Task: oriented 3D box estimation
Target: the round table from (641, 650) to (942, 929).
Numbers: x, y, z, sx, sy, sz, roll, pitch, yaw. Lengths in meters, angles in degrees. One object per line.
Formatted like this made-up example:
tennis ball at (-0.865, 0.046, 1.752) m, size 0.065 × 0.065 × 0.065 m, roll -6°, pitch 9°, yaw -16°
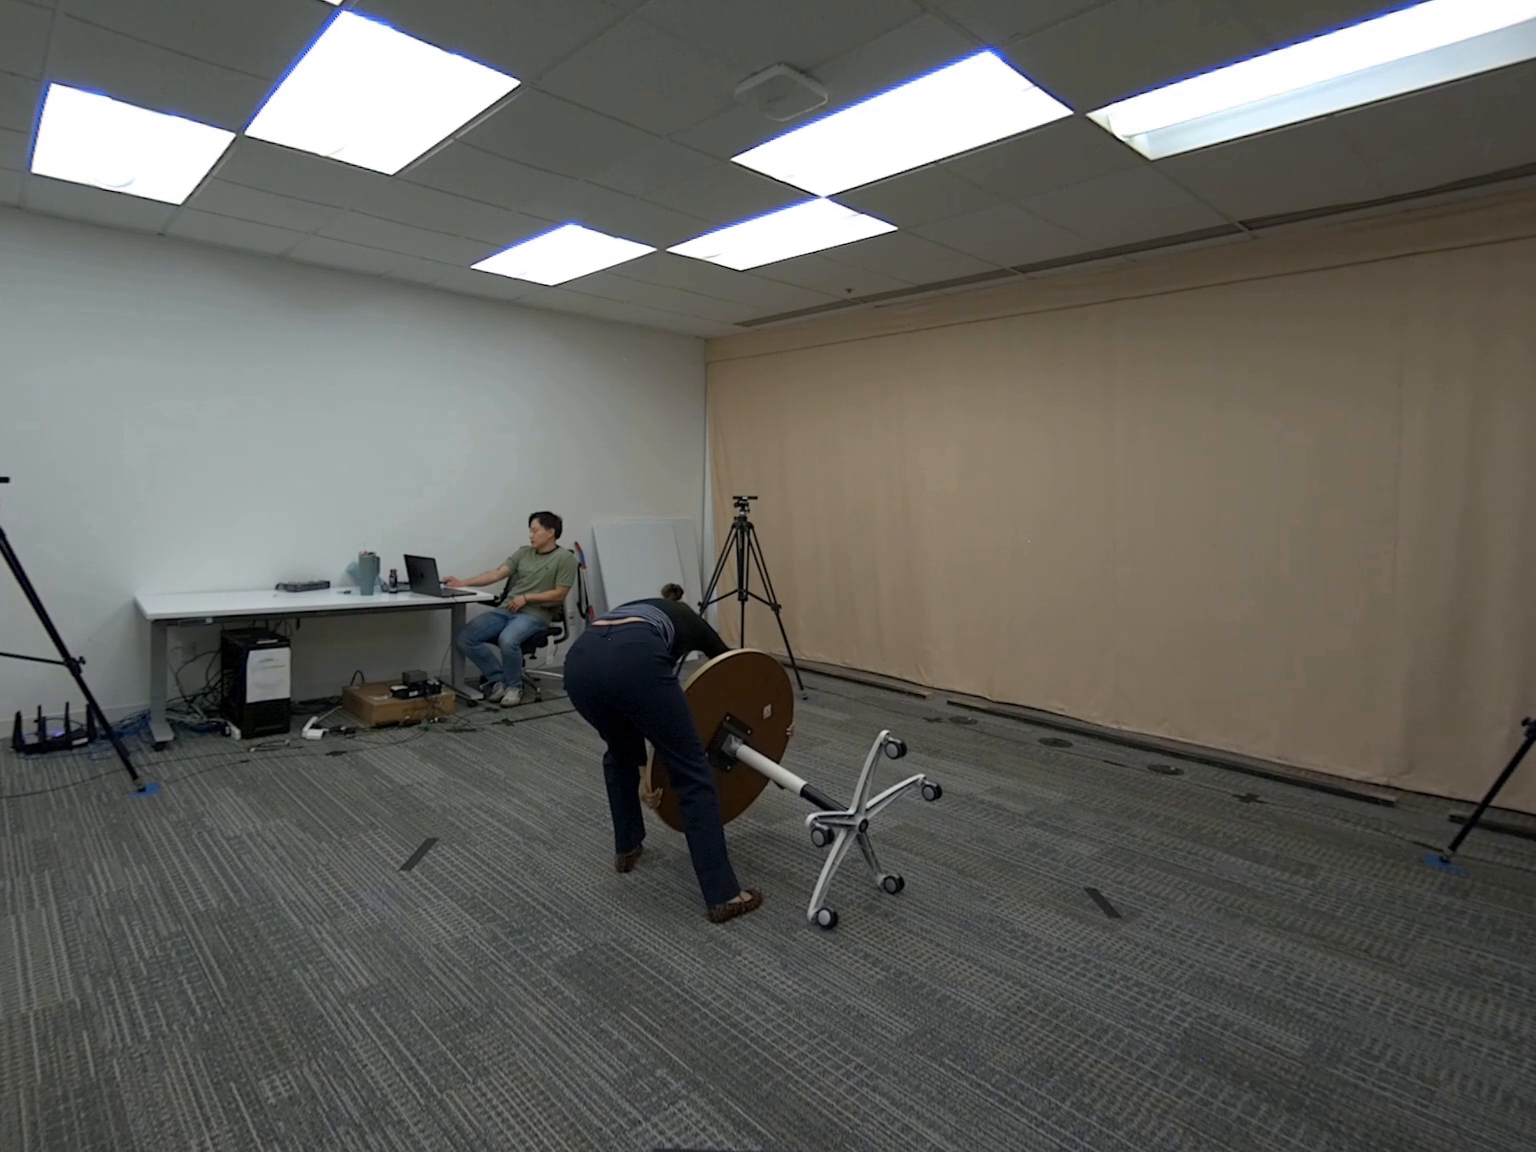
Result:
round table at (0.093, 0.767, 3.060) m, size 0.746 × 0.758 × 0.818 m, roll -3°, pitch 17°, yaw -45°
